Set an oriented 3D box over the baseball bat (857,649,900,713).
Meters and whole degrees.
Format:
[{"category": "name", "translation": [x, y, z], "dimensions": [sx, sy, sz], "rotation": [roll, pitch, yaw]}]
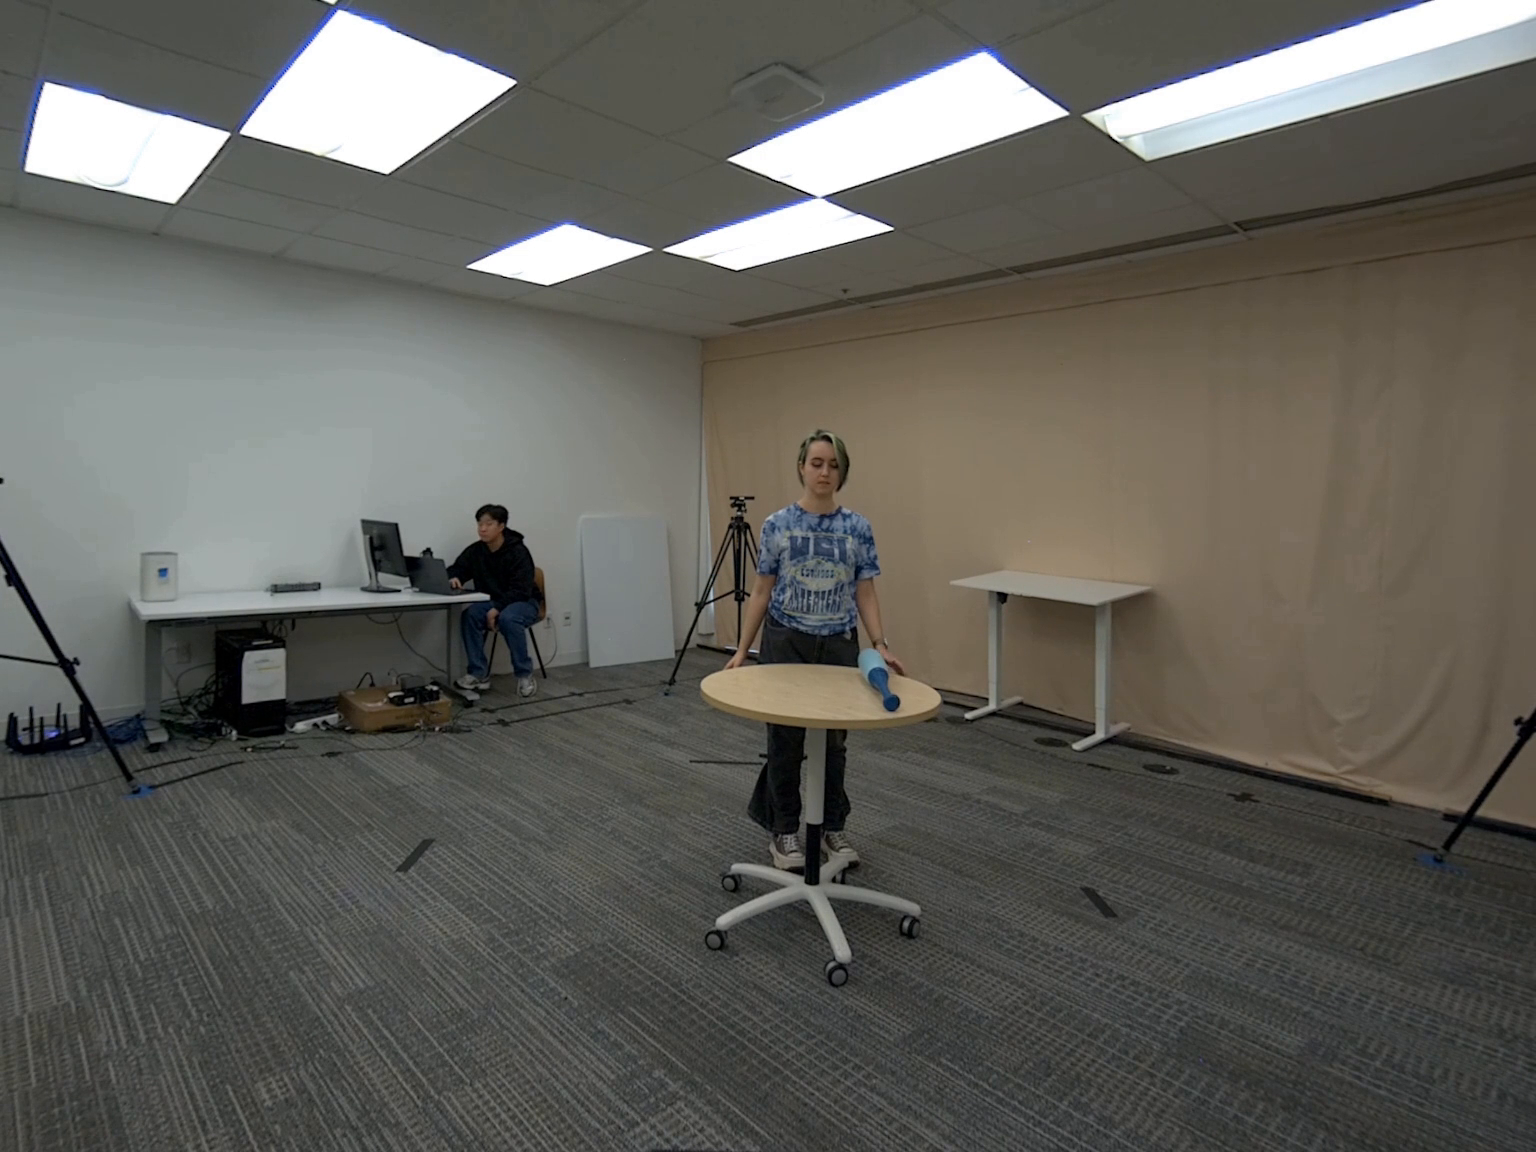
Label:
[{"category": "baseball bat", "translation": [0.347, 0.332, 2.697], "dimensions": [0.089, 0.088, 0.546], "rotation": [1, 7, -2]}]
